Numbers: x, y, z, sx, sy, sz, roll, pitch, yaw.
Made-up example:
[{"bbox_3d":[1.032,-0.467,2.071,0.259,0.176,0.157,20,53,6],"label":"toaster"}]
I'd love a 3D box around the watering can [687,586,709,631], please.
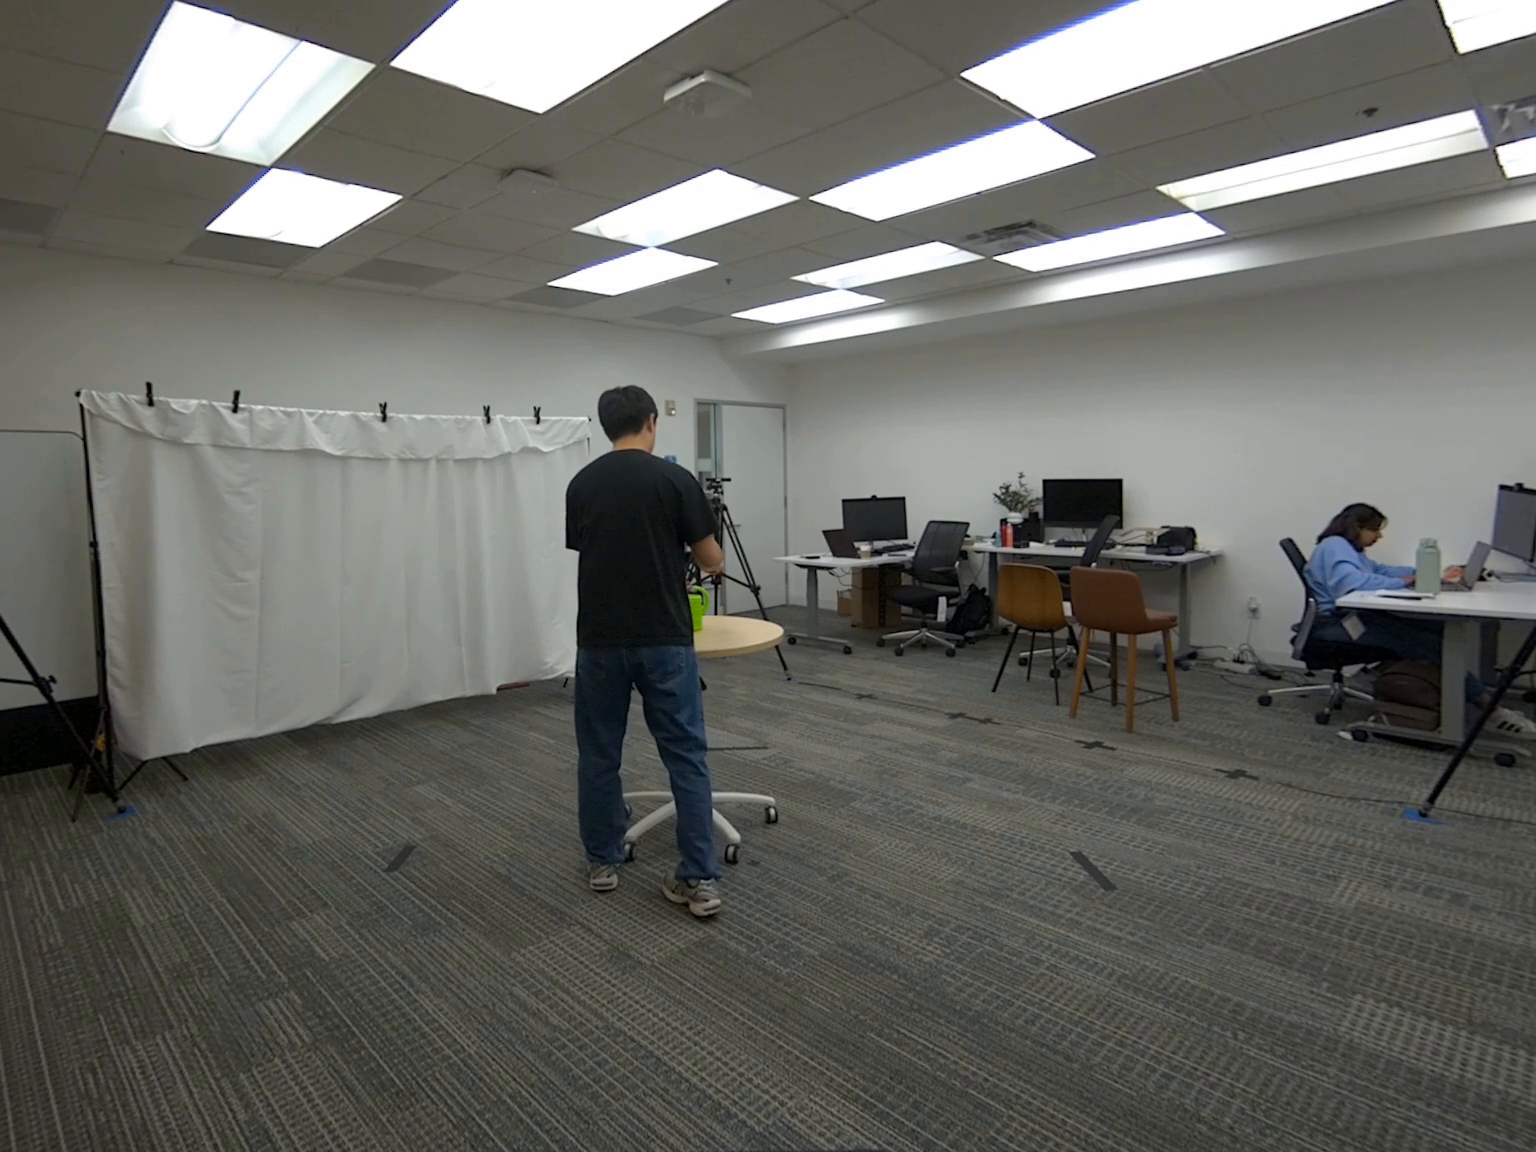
[{"bbox_3d":[-0.361,0.130,3.398,0.276,0.176,0.099,-1,4,-6],"label":"watering can"}]
